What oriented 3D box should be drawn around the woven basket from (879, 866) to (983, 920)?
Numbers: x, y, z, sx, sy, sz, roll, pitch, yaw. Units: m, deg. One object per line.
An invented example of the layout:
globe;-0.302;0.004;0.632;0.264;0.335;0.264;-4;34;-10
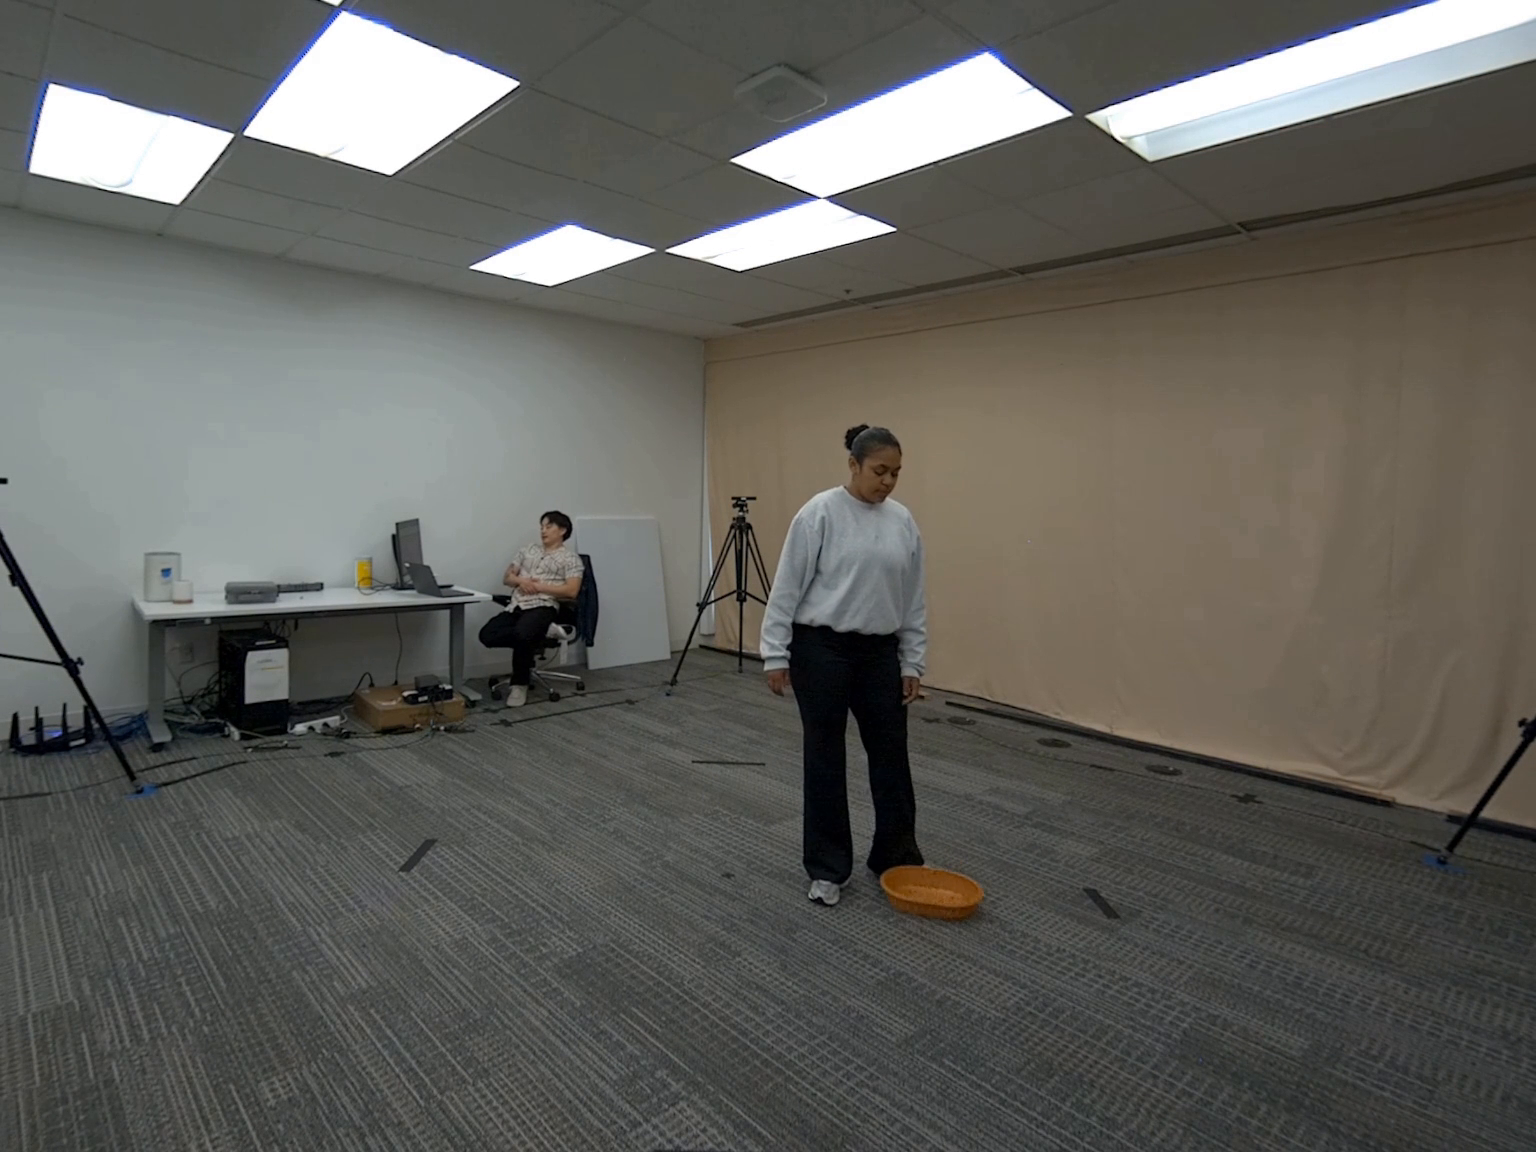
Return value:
woven basket;0.541;1.098;2.909;0.355;0.073;0.250;3;8;16
